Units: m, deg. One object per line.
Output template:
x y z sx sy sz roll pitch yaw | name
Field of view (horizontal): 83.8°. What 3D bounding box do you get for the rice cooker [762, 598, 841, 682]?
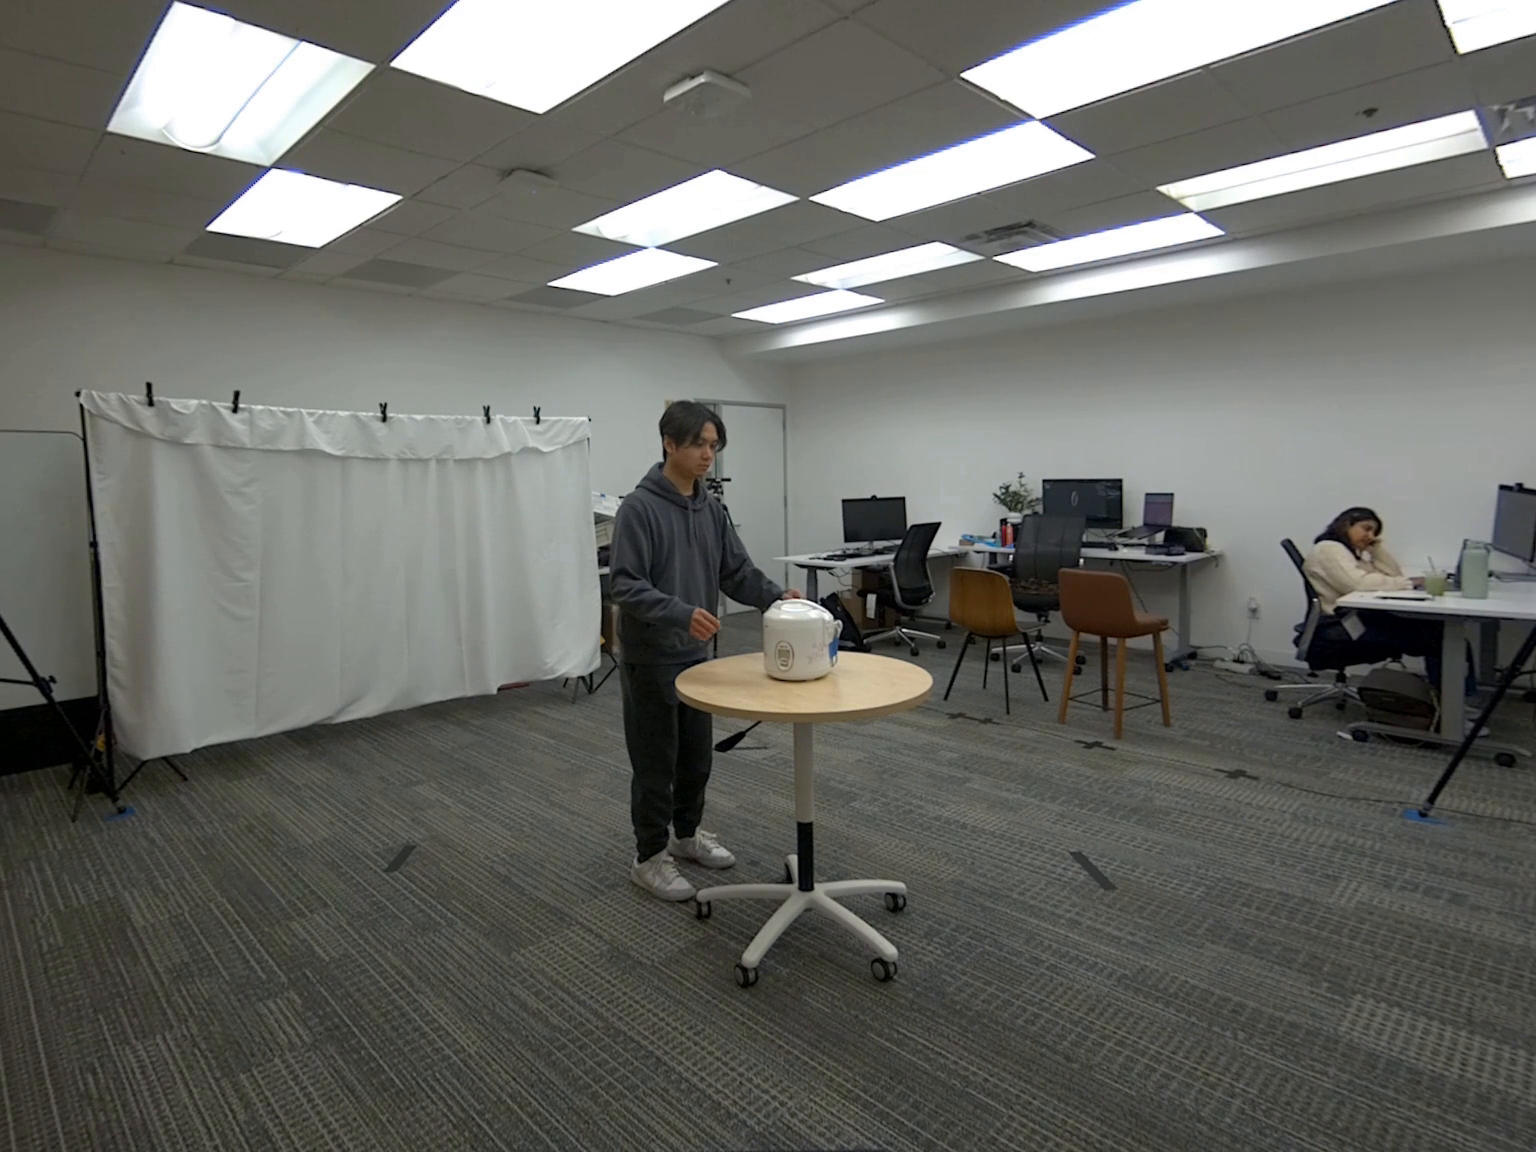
0.094 0.186 2.588 0.226 0.232 0.213 -1 4 26 | rice cooker
